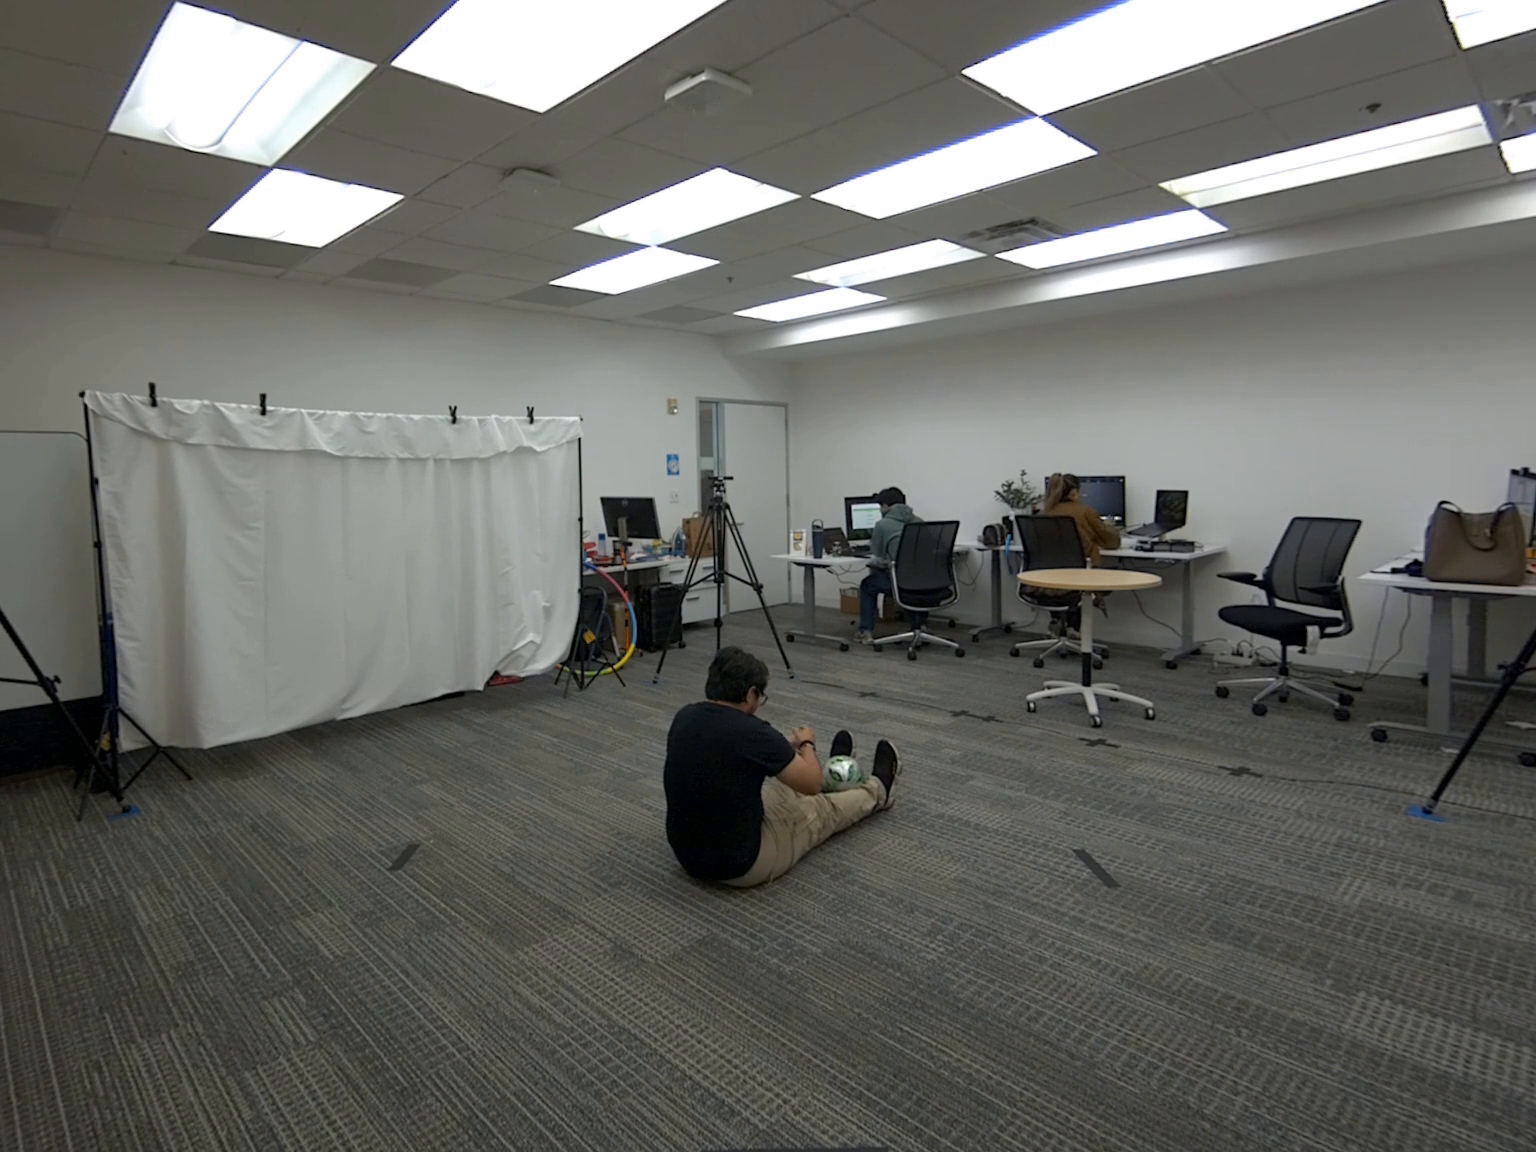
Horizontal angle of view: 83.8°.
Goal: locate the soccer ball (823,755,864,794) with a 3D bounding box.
[{"bbox_3d":[0.314,0.838,3.530,0.187,0.187,0.188,-1,4,-2],"label":"soccer ball"}]
